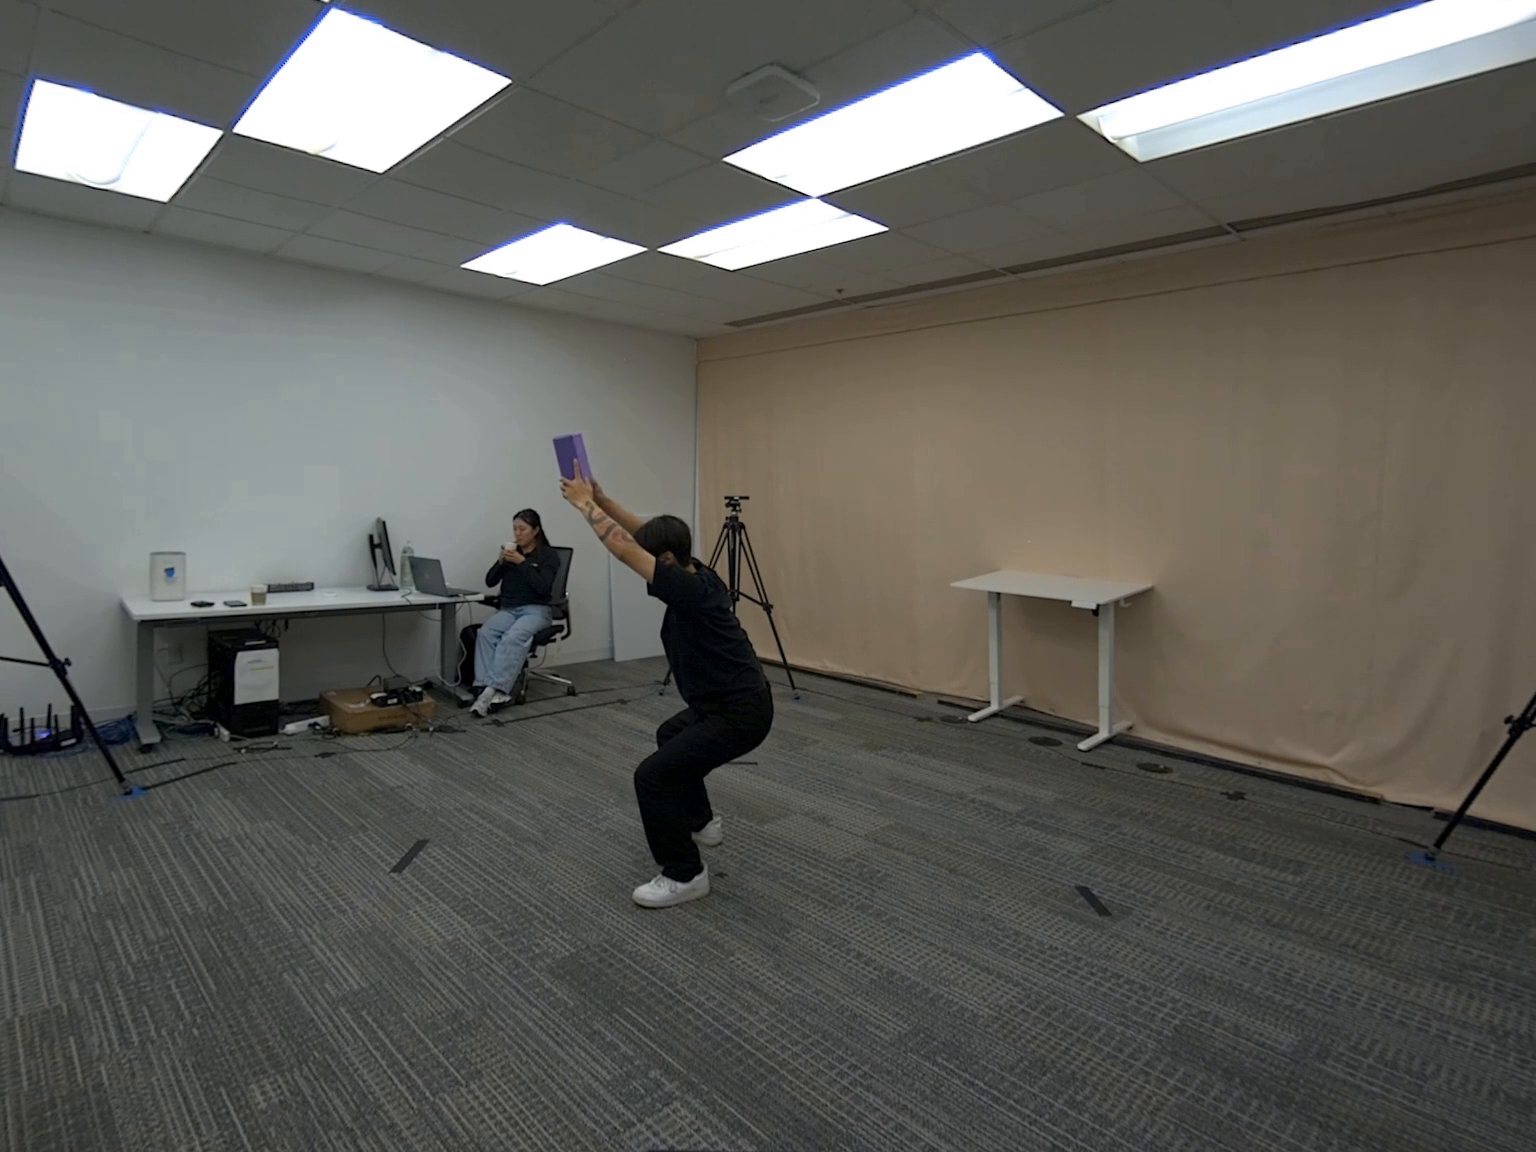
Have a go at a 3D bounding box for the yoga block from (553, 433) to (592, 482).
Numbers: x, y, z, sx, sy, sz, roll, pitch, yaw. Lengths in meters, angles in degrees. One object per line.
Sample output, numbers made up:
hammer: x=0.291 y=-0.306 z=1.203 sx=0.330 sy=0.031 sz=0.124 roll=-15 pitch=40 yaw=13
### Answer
yoga block: x=-0.716 y=-0.406 z=3.073 sx=0.077 sy=0.227 sz=0.149 roll=-6 pitch=11 yaw=7
